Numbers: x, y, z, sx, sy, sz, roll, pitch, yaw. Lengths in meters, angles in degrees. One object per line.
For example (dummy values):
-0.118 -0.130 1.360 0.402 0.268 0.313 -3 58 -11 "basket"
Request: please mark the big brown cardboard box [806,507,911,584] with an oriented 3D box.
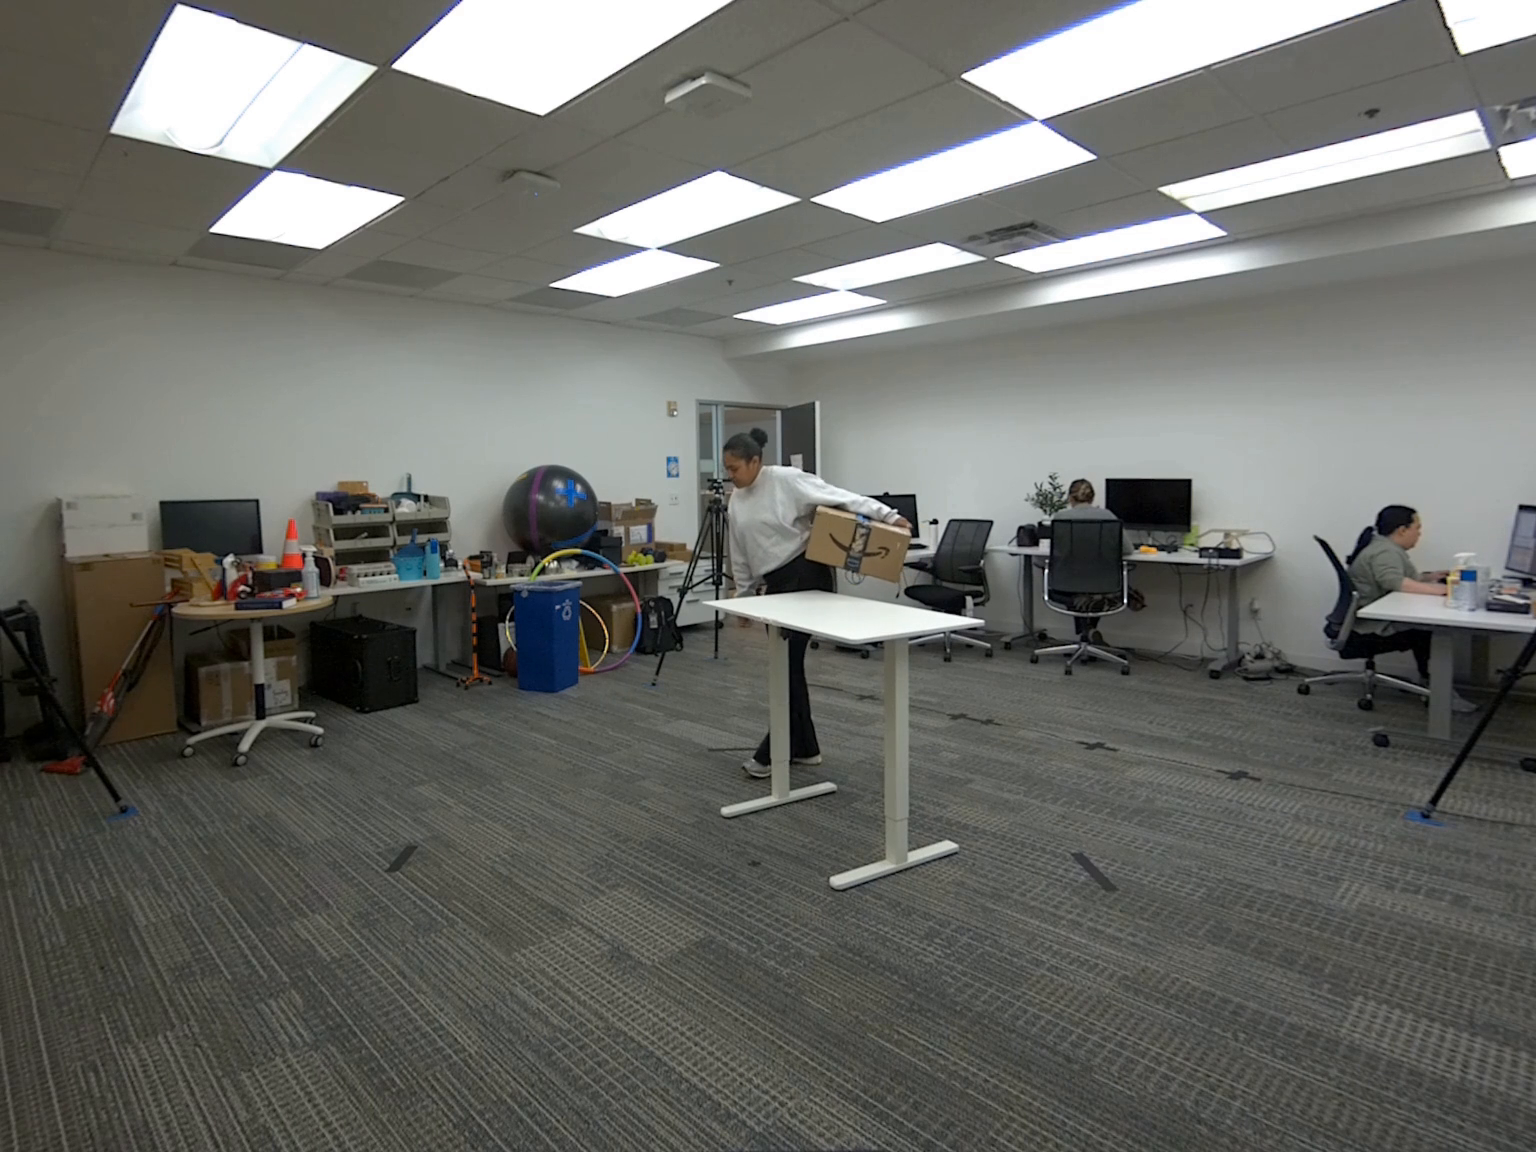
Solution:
0.409 -0.179 3.933 0.421 0.231 0.589 14 12 5 "big brown cardboard box"
